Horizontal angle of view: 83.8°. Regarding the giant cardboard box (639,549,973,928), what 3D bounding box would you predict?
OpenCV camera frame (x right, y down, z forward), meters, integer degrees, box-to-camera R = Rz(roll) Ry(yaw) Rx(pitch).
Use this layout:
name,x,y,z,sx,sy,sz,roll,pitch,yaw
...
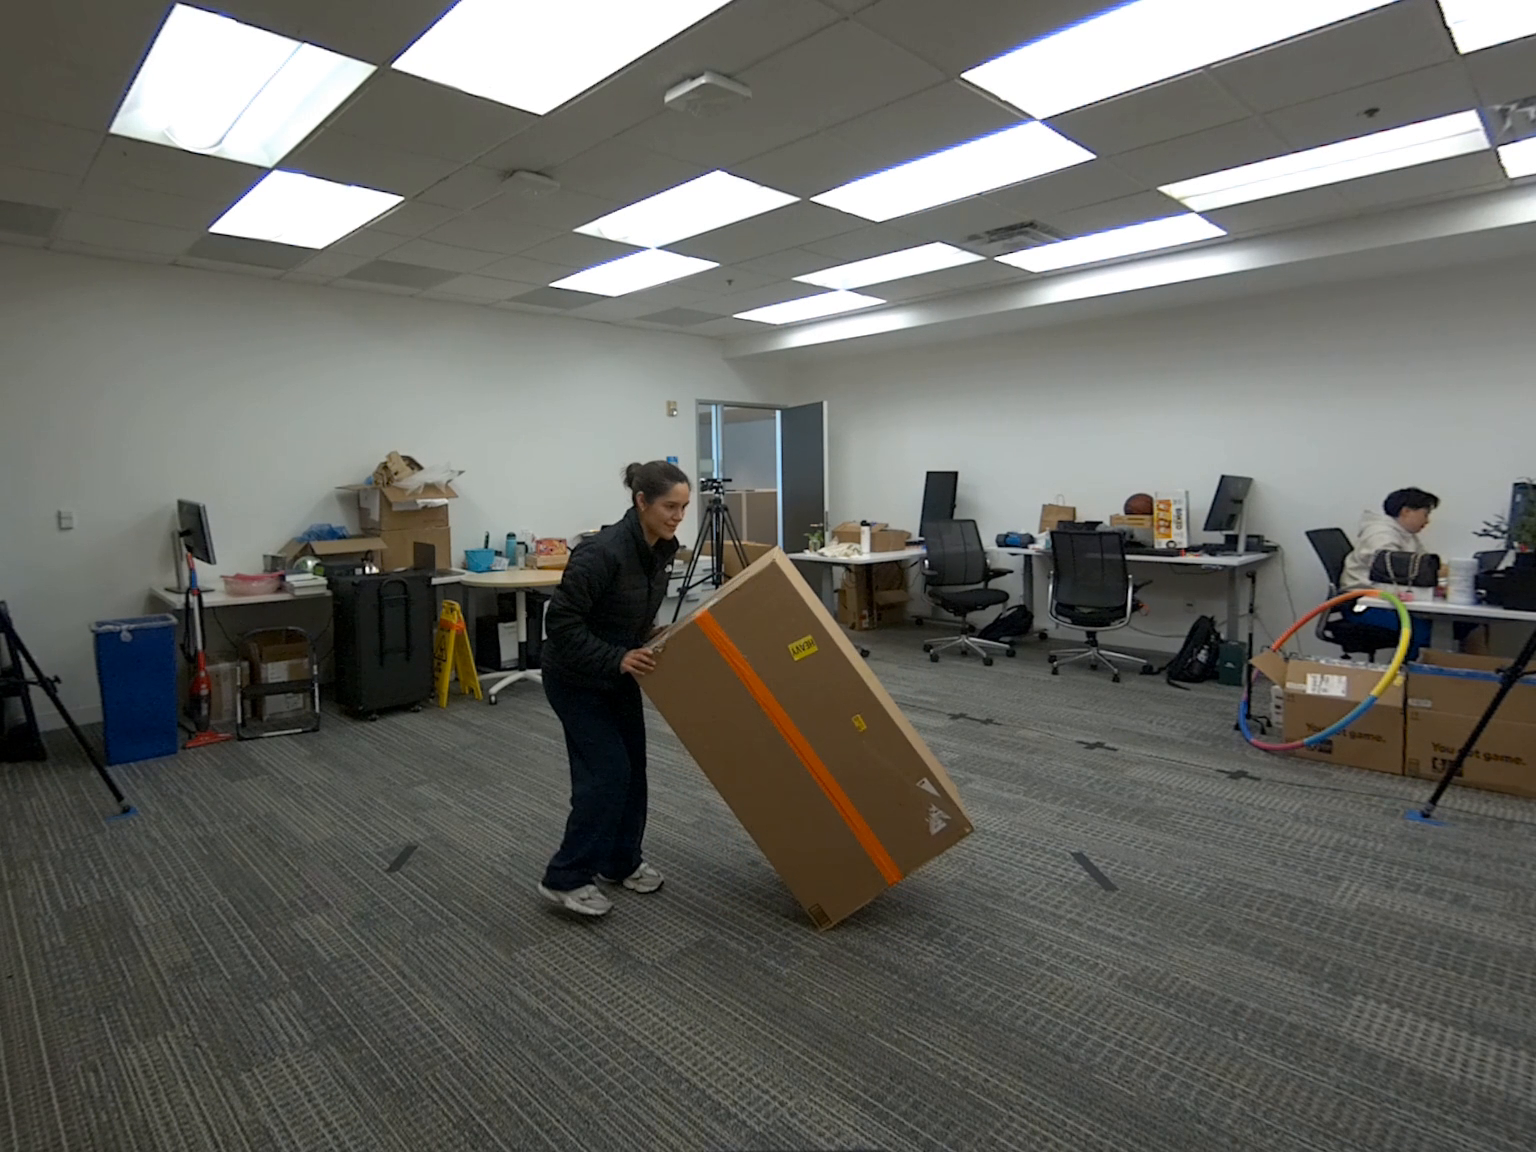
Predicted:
name,x,y,z,sx,sy,sz,roll,pitch,yaw
giant cardboard box,0.100,0.496,2.810,0.585,1.025,0.447,-37,2,7
